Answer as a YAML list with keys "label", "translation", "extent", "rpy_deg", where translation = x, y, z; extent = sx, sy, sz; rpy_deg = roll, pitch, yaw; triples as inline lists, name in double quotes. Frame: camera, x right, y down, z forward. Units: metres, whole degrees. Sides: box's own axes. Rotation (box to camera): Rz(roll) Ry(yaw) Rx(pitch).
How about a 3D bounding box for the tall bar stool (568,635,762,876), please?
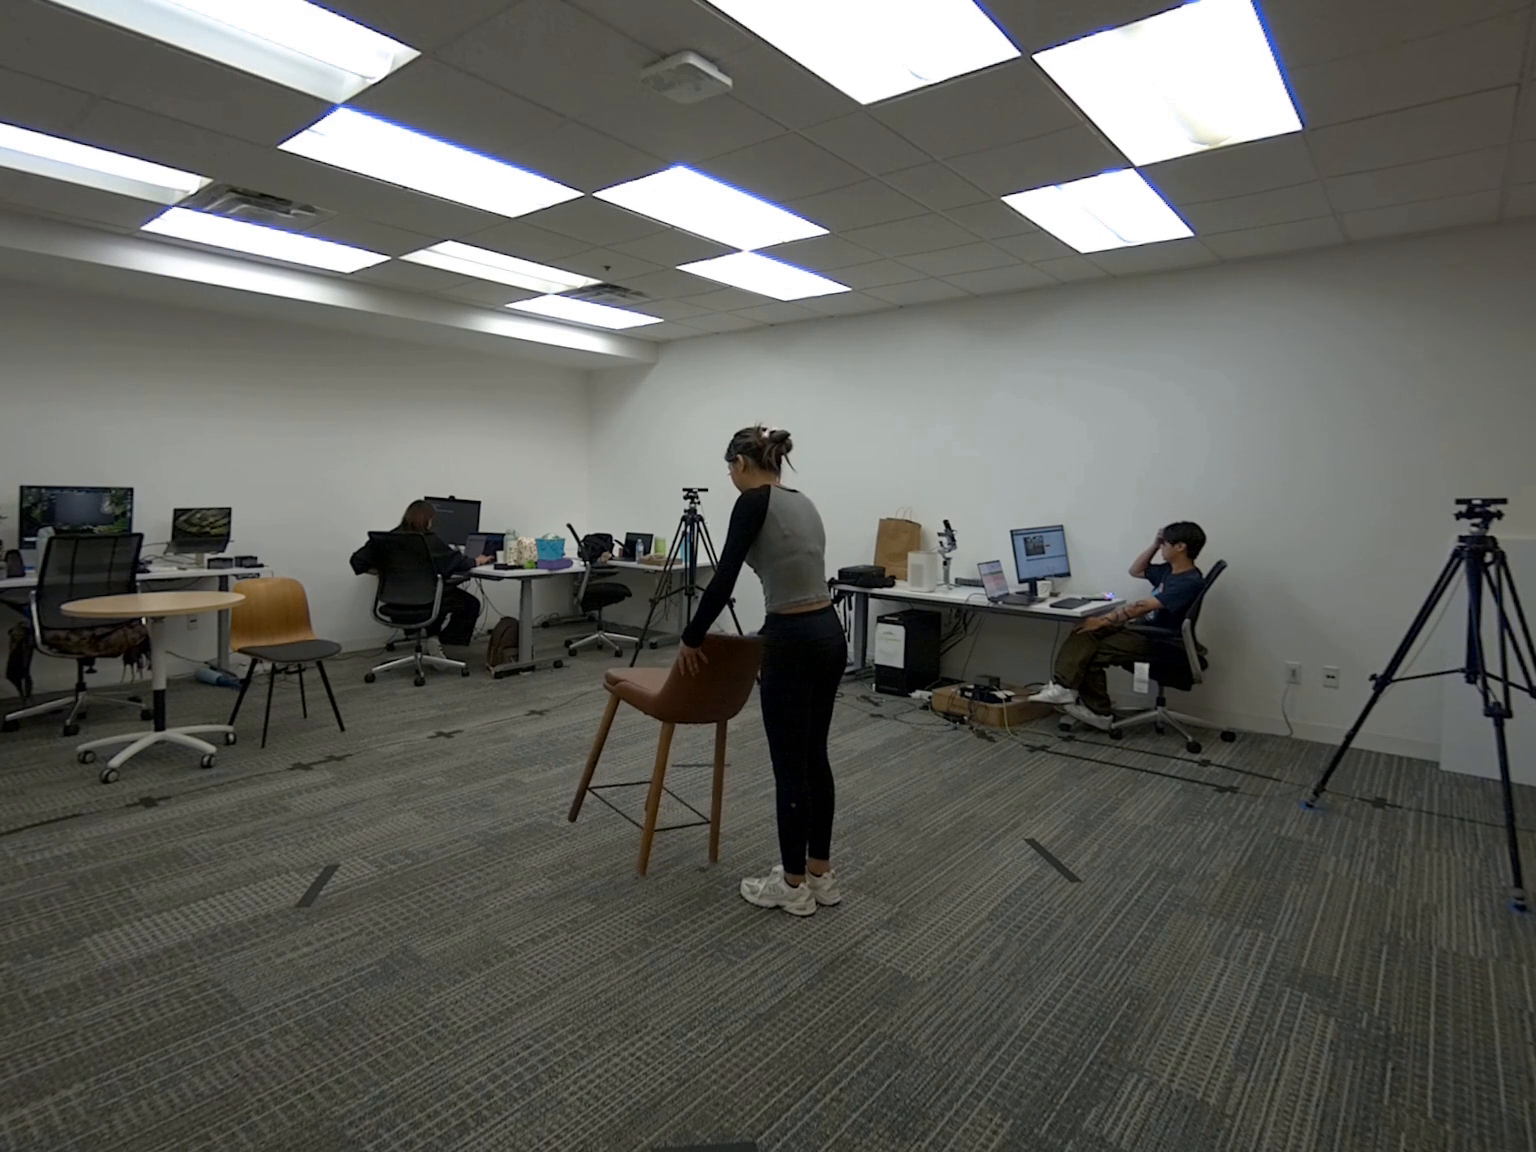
- label: "tall bar stool"
  translation: [-0.380, 0.578, 3.179]
  extent: [0.440, 0.887, 0.486]
  rpy_deg: [9, 7, -45]
